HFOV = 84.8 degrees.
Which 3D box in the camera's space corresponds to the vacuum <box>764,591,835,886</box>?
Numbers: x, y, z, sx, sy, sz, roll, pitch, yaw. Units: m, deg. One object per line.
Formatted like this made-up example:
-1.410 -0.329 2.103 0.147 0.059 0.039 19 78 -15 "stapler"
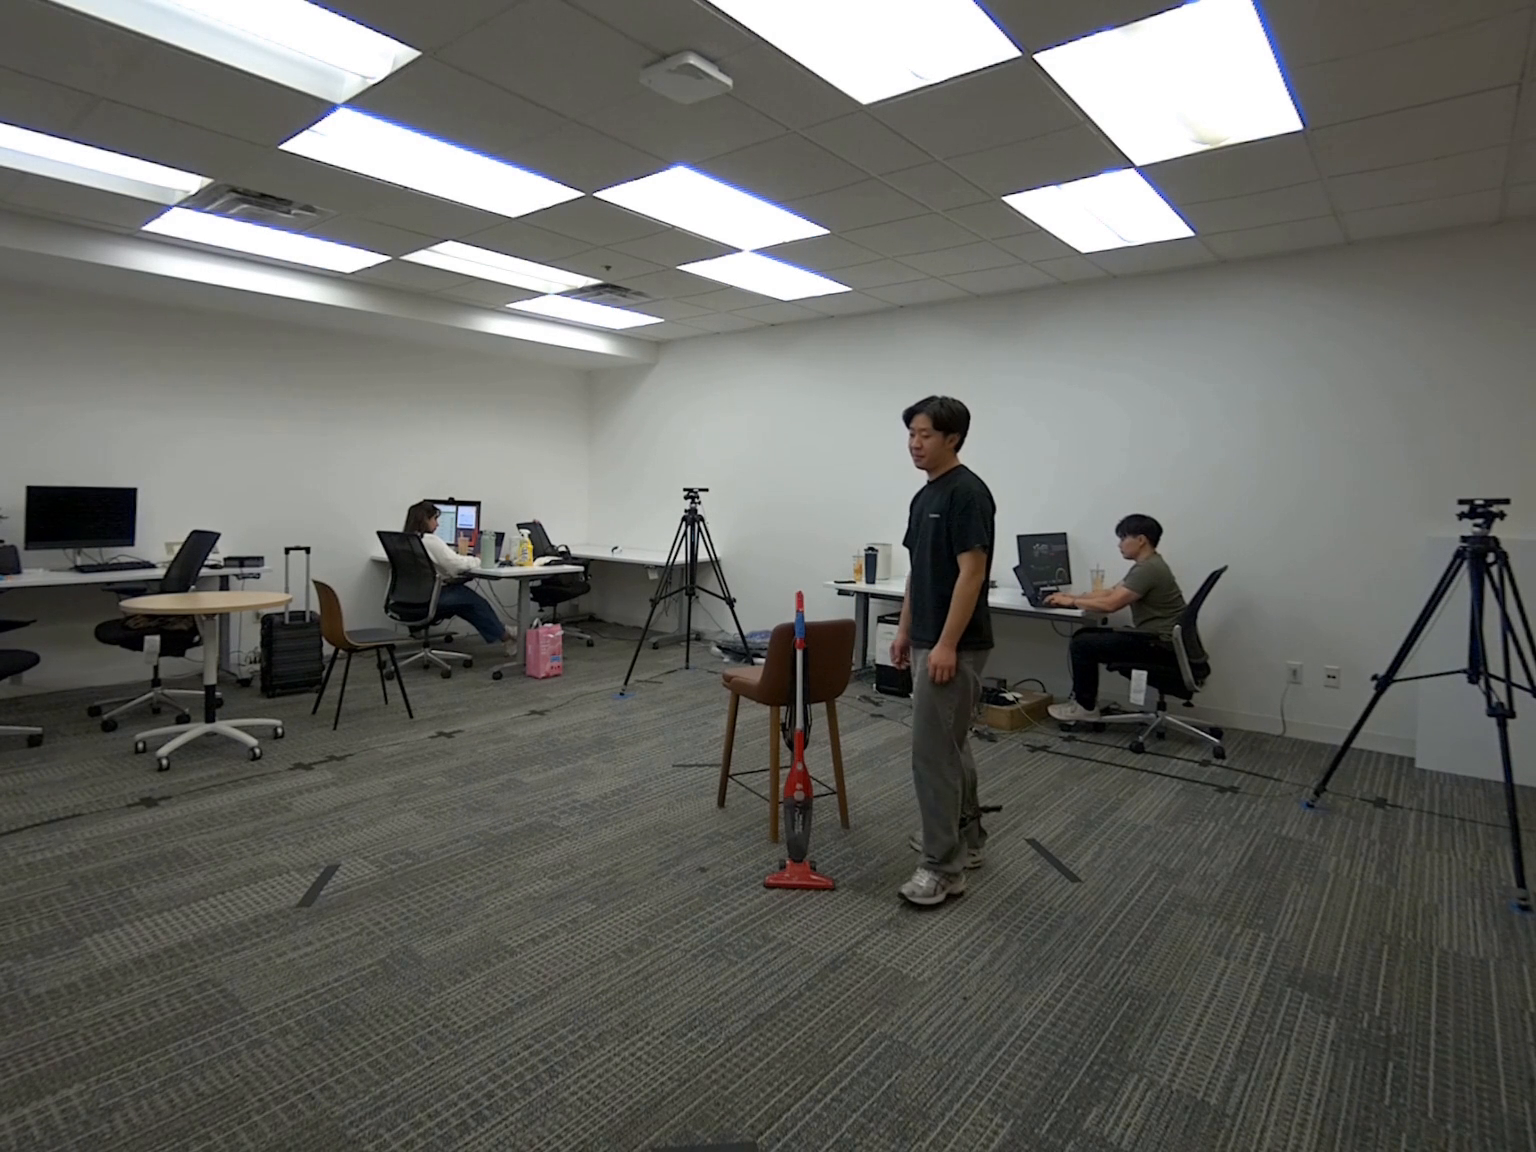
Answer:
0.107 0.574 3.200 0.251 1.066 0.142 2 -17 -6 "vacuum"
